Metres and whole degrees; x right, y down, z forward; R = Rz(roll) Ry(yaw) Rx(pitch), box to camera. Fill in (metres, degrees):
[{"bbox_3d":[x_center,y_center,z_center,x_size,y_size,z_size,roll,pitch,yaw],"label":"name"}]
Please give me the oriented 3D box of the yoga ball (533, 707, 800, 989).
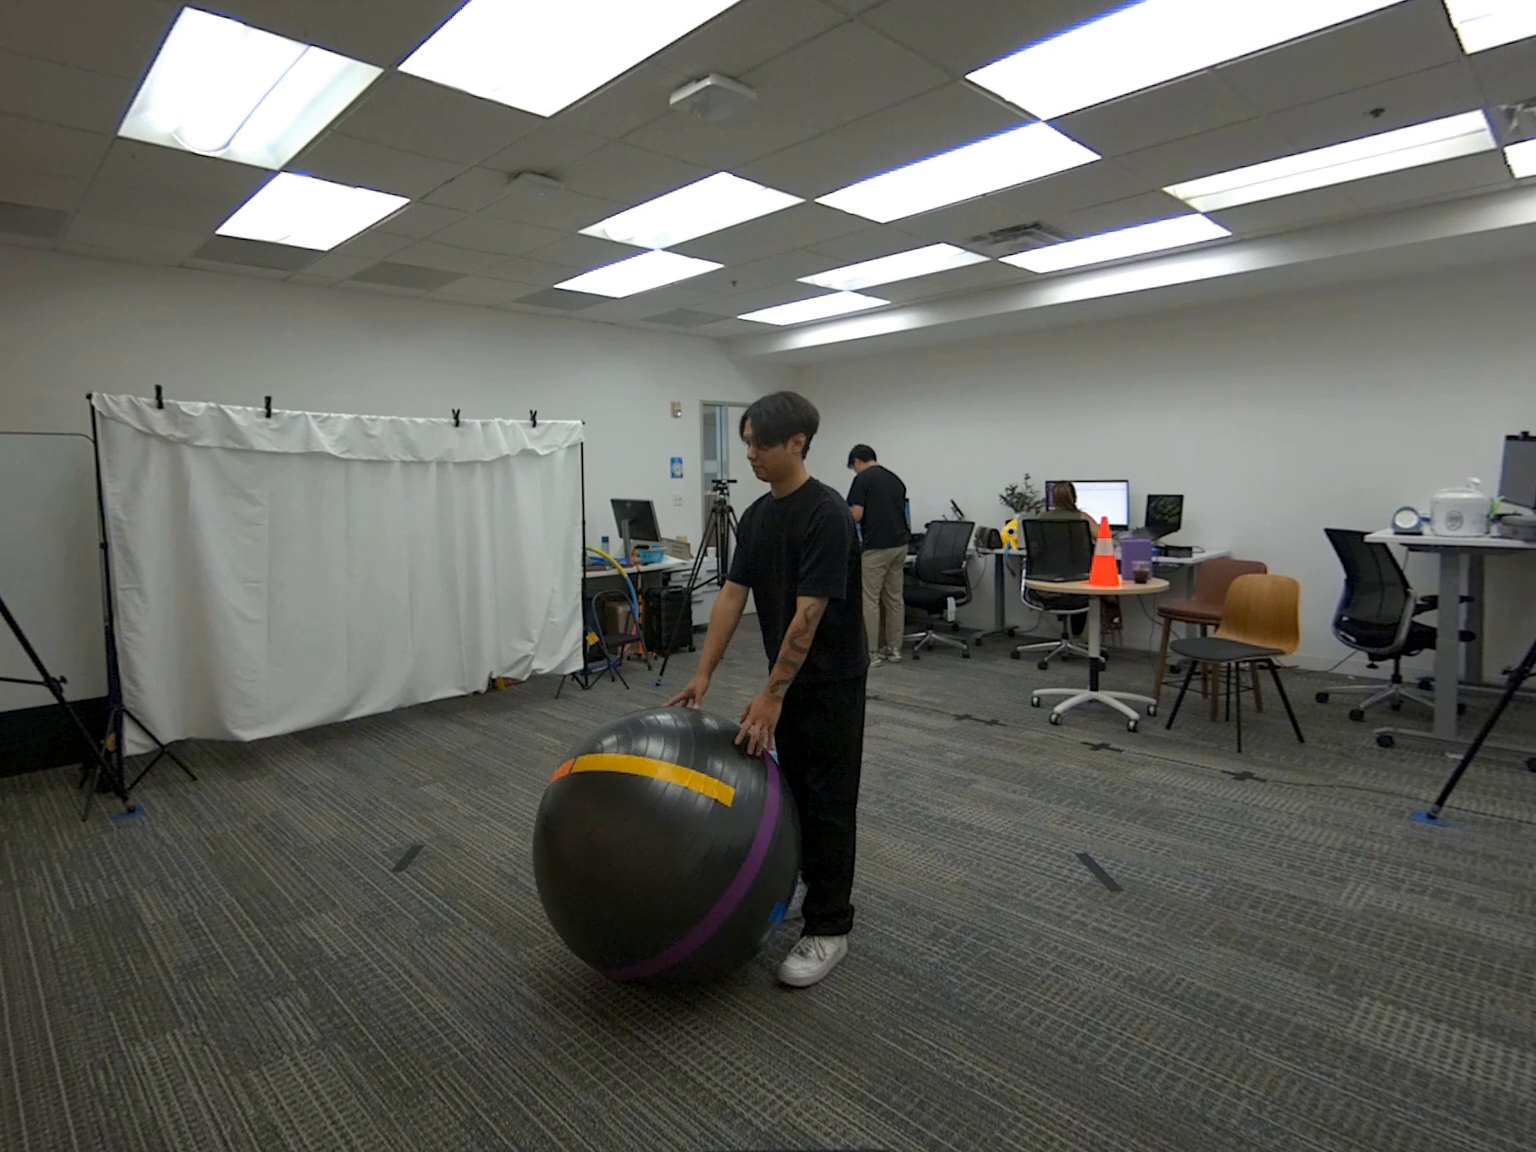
[{"bbox_3d":[-0.286,0.761,2.428,0.757,0.755,0.762,-1,5,-2],"label":"yoga ball"}]
